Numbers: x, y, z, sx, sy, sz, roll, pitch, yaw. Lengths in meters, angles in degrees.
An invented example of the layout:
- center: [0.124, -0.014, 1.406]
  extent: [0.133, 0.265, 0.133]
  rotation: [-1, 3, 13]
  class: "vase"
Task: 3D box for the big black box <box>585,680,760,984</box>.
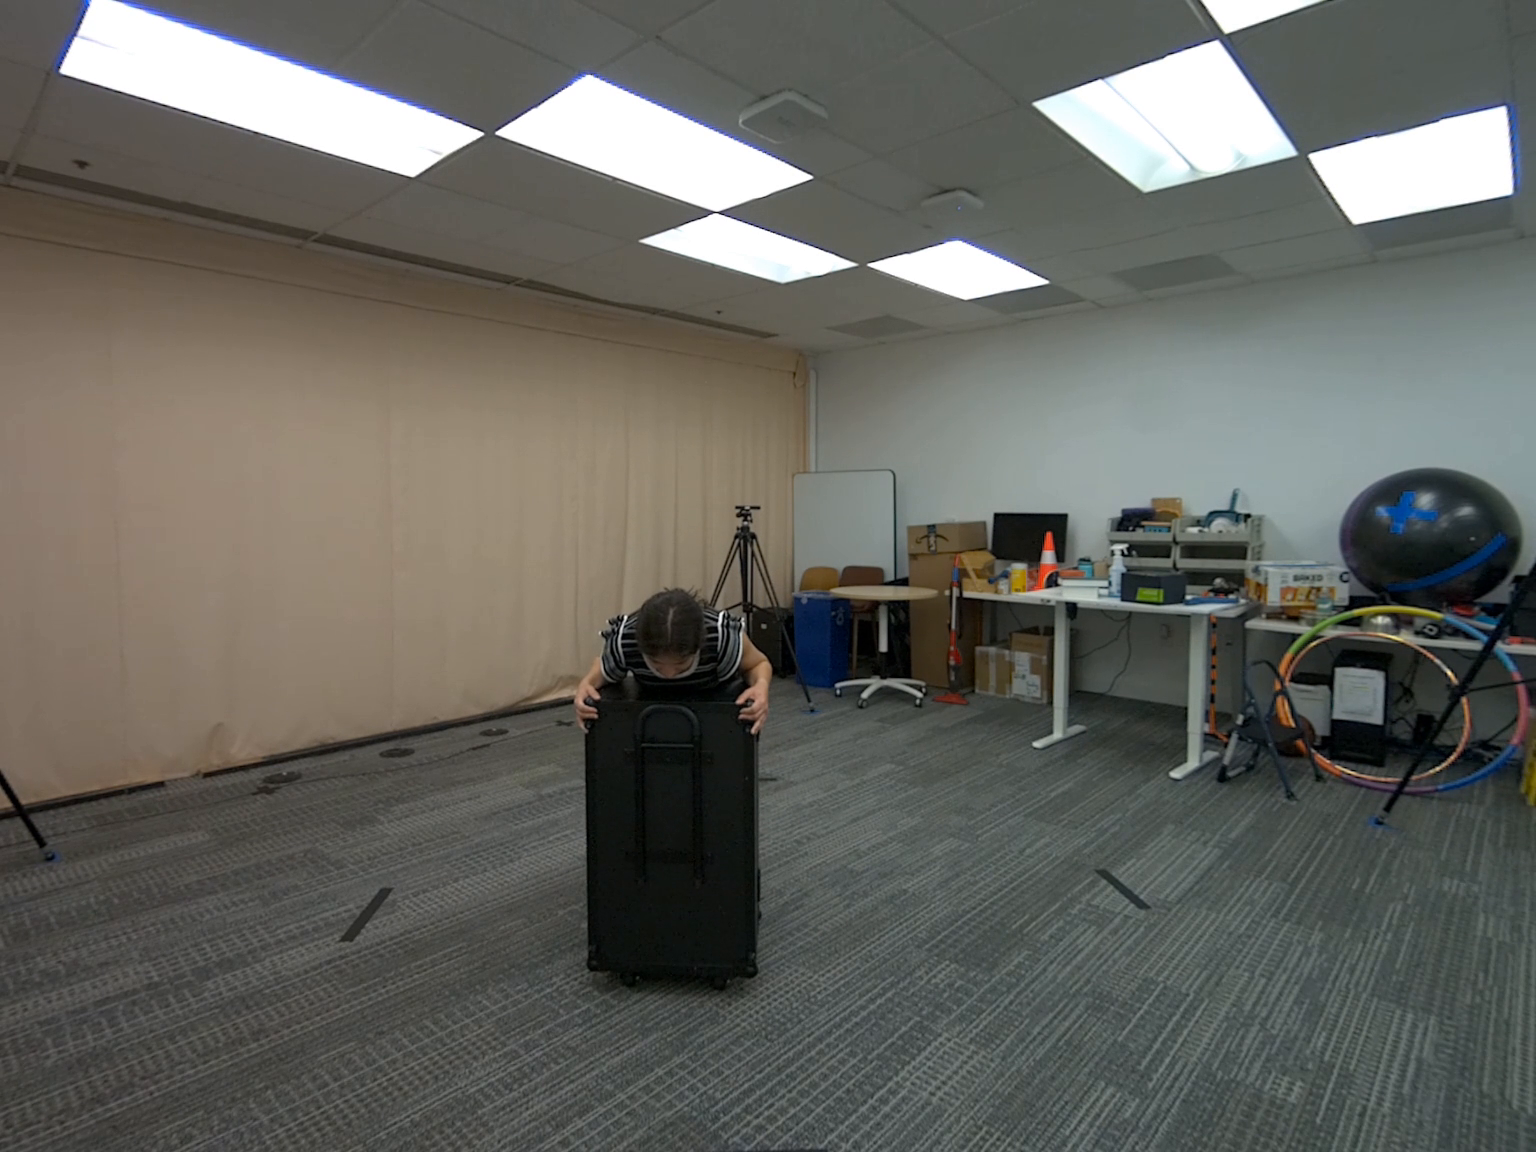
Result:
- center: [-0.261, 0.770, 2.522]
  extent: [0.523, 0.859, 0.396]
  rotation: [0, 4, 3]
  class: "big black box"
